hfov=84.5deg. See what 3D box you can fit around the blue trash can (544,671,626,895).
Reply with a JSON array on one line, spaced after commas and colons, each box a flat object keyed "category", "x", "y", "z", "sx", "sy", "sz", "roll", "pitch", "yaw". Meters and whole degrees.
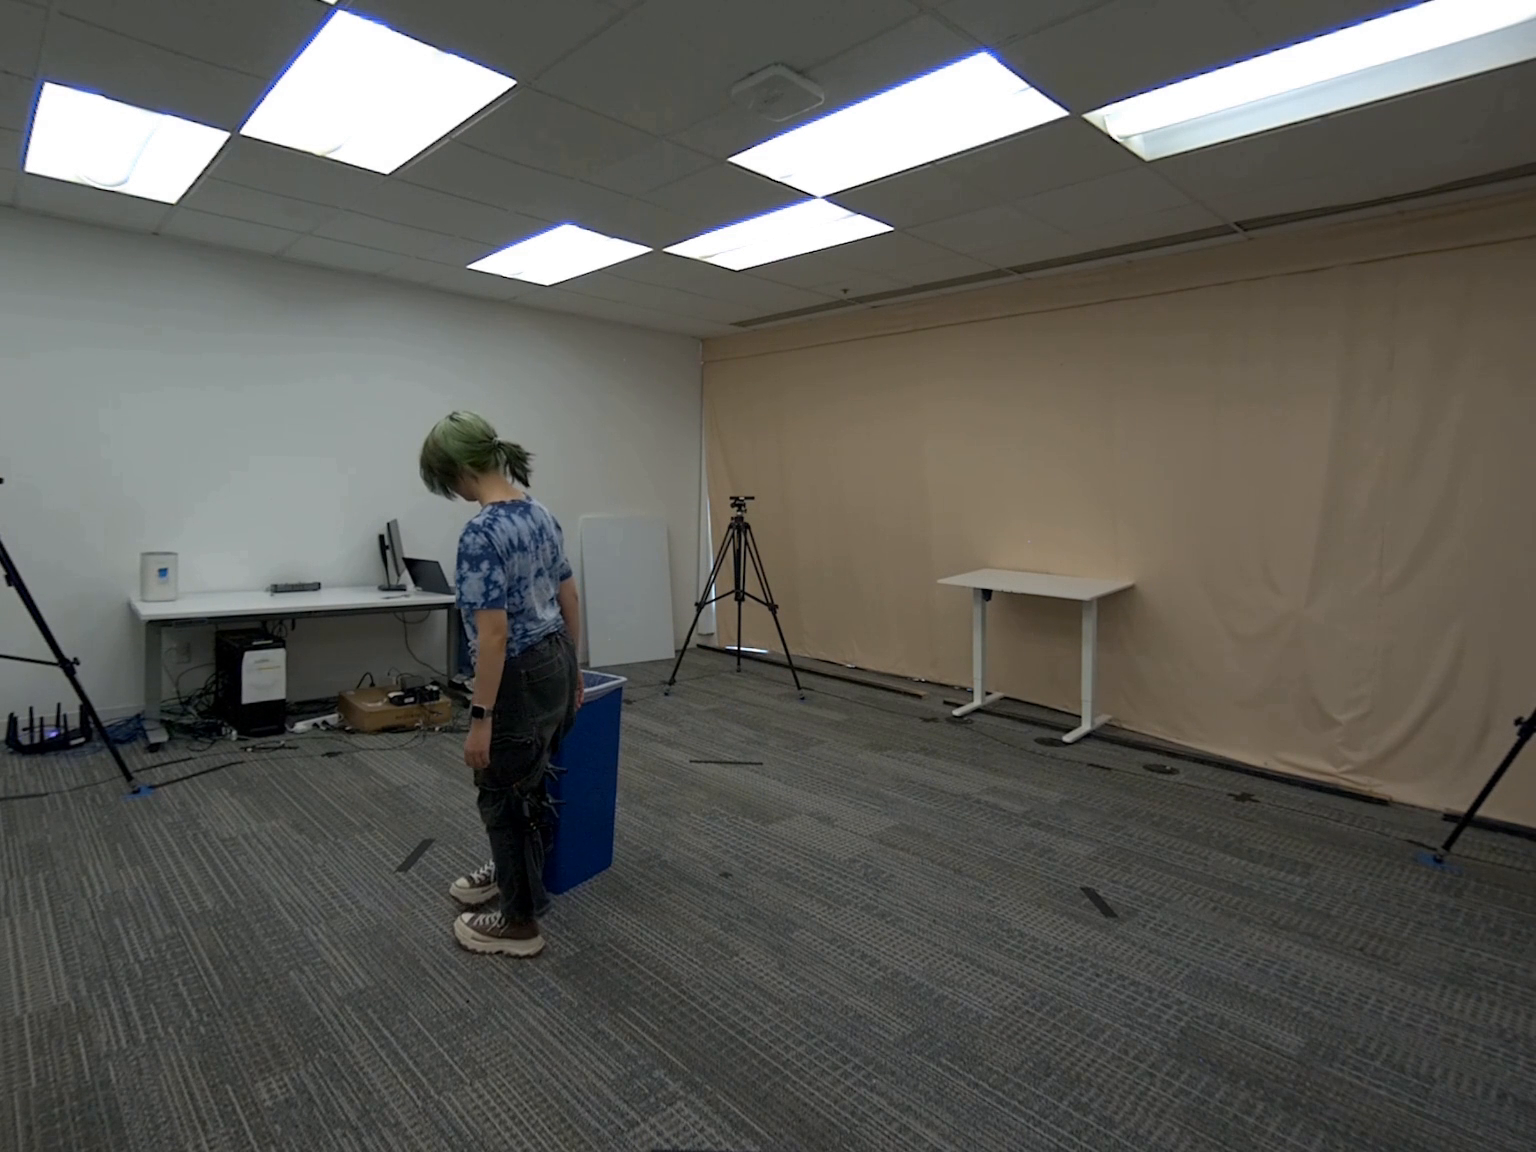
[{"category": "blue trash can", "x": -0.772, "y": 0.734, "z": 3.095, "sx": 0.382, "sy": 0.711, "sz": 0.371, "roll": 3, "pitch": 4, "yaw": 29}]
